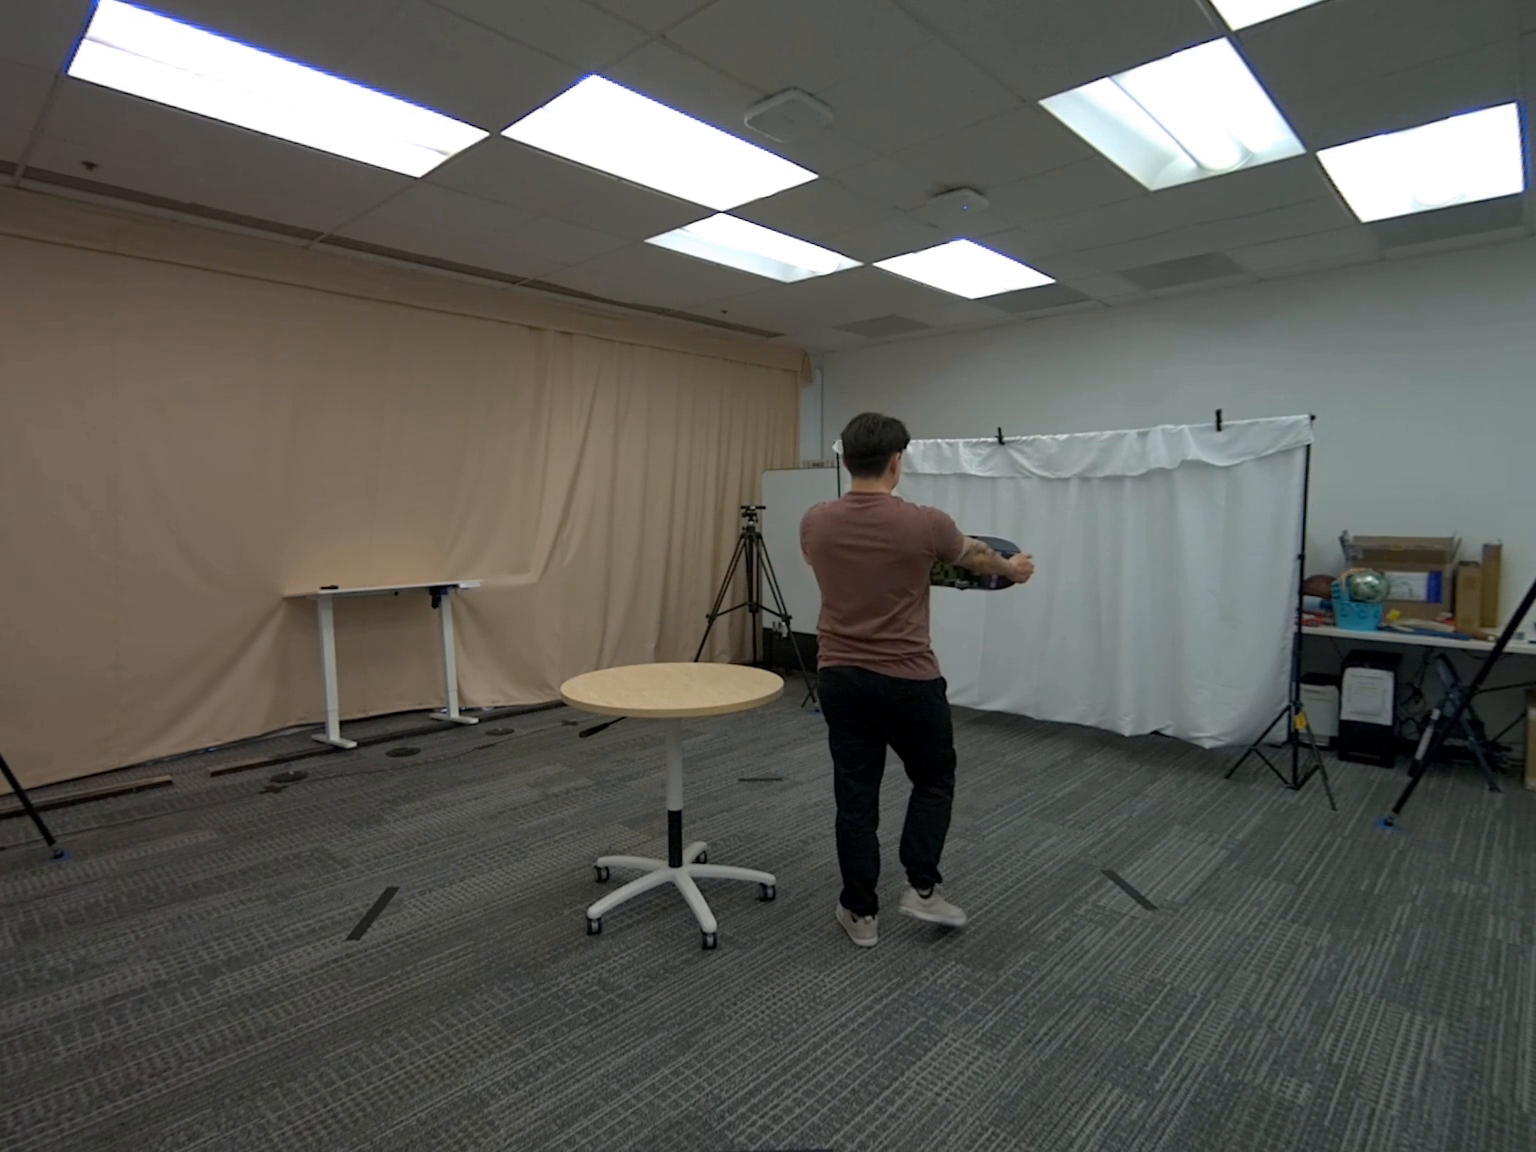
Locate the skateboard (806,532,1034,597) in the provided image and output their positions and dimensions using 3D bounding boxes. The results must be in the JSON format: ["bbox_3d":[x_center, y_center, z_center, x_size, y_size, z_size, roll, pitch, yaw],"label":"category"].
[{"bbox_3d":[0.529,-0.066,3.059,0.806,0.192,0.108,5,8,25],"label":"skateboard"}]
